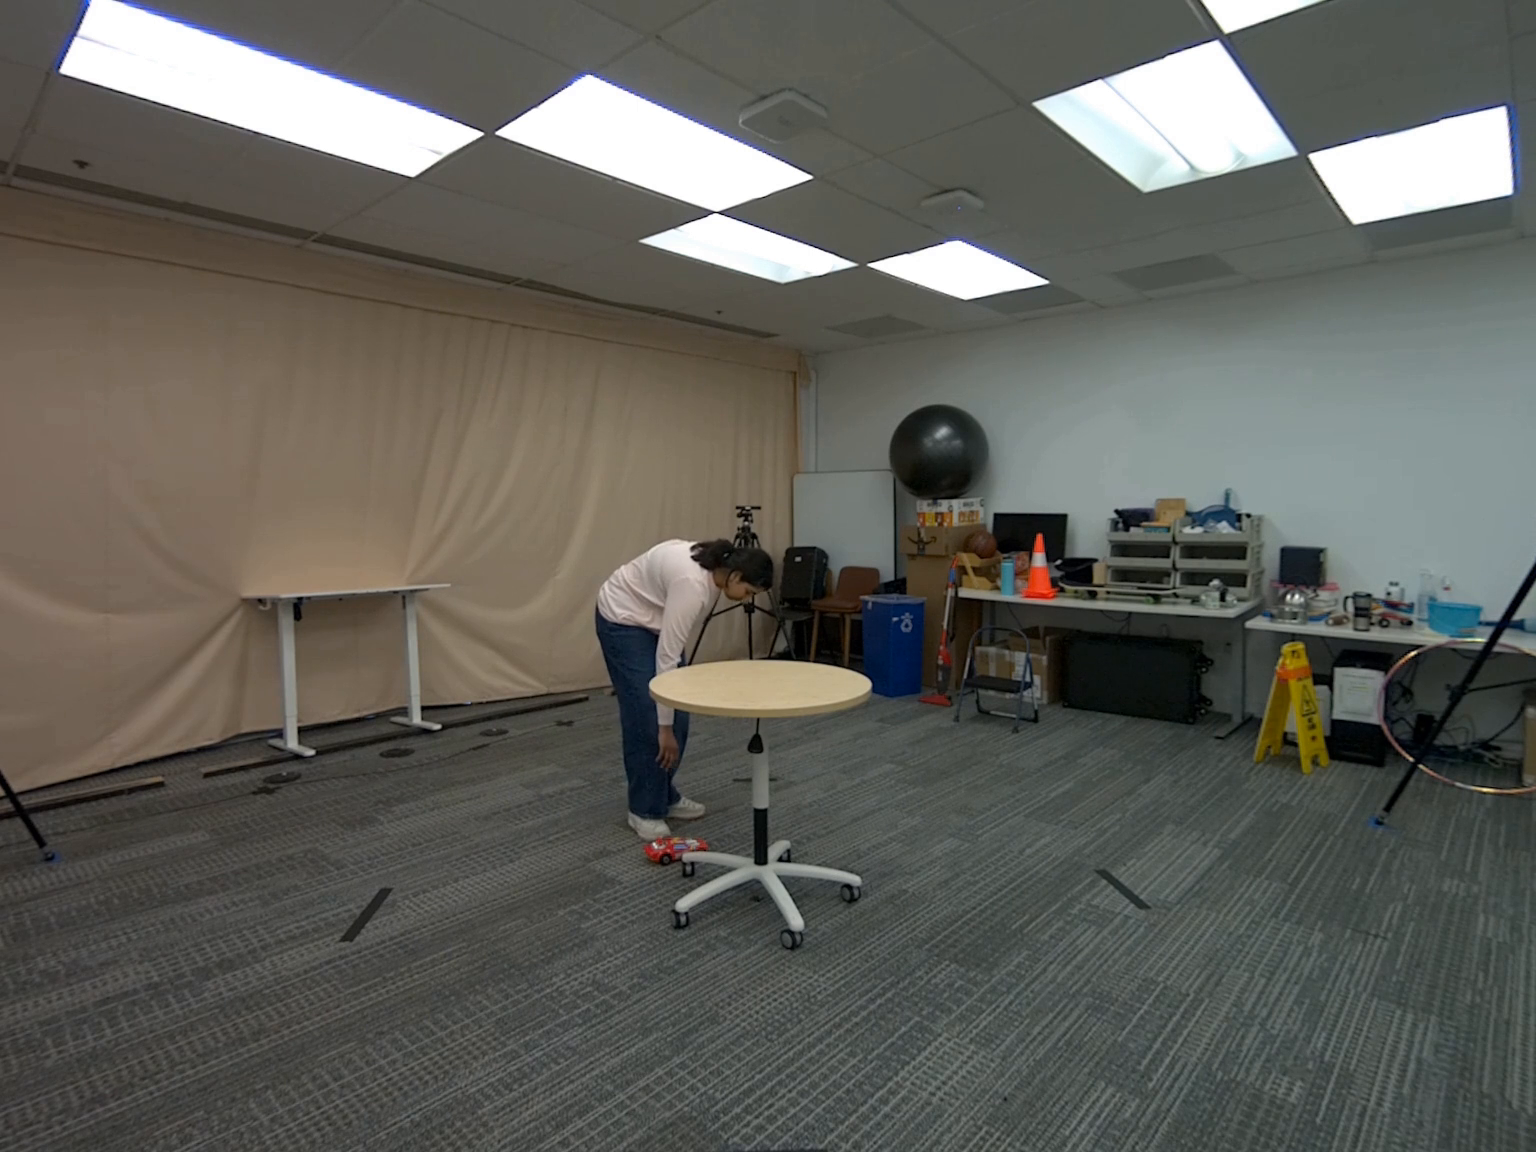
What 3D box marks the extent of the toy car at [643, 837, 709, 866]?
[{"bbox_3d":[-0.371,1.087,3.328,0.249,0.083,0.133,9,-1,-20],"label":"toy car"}]
